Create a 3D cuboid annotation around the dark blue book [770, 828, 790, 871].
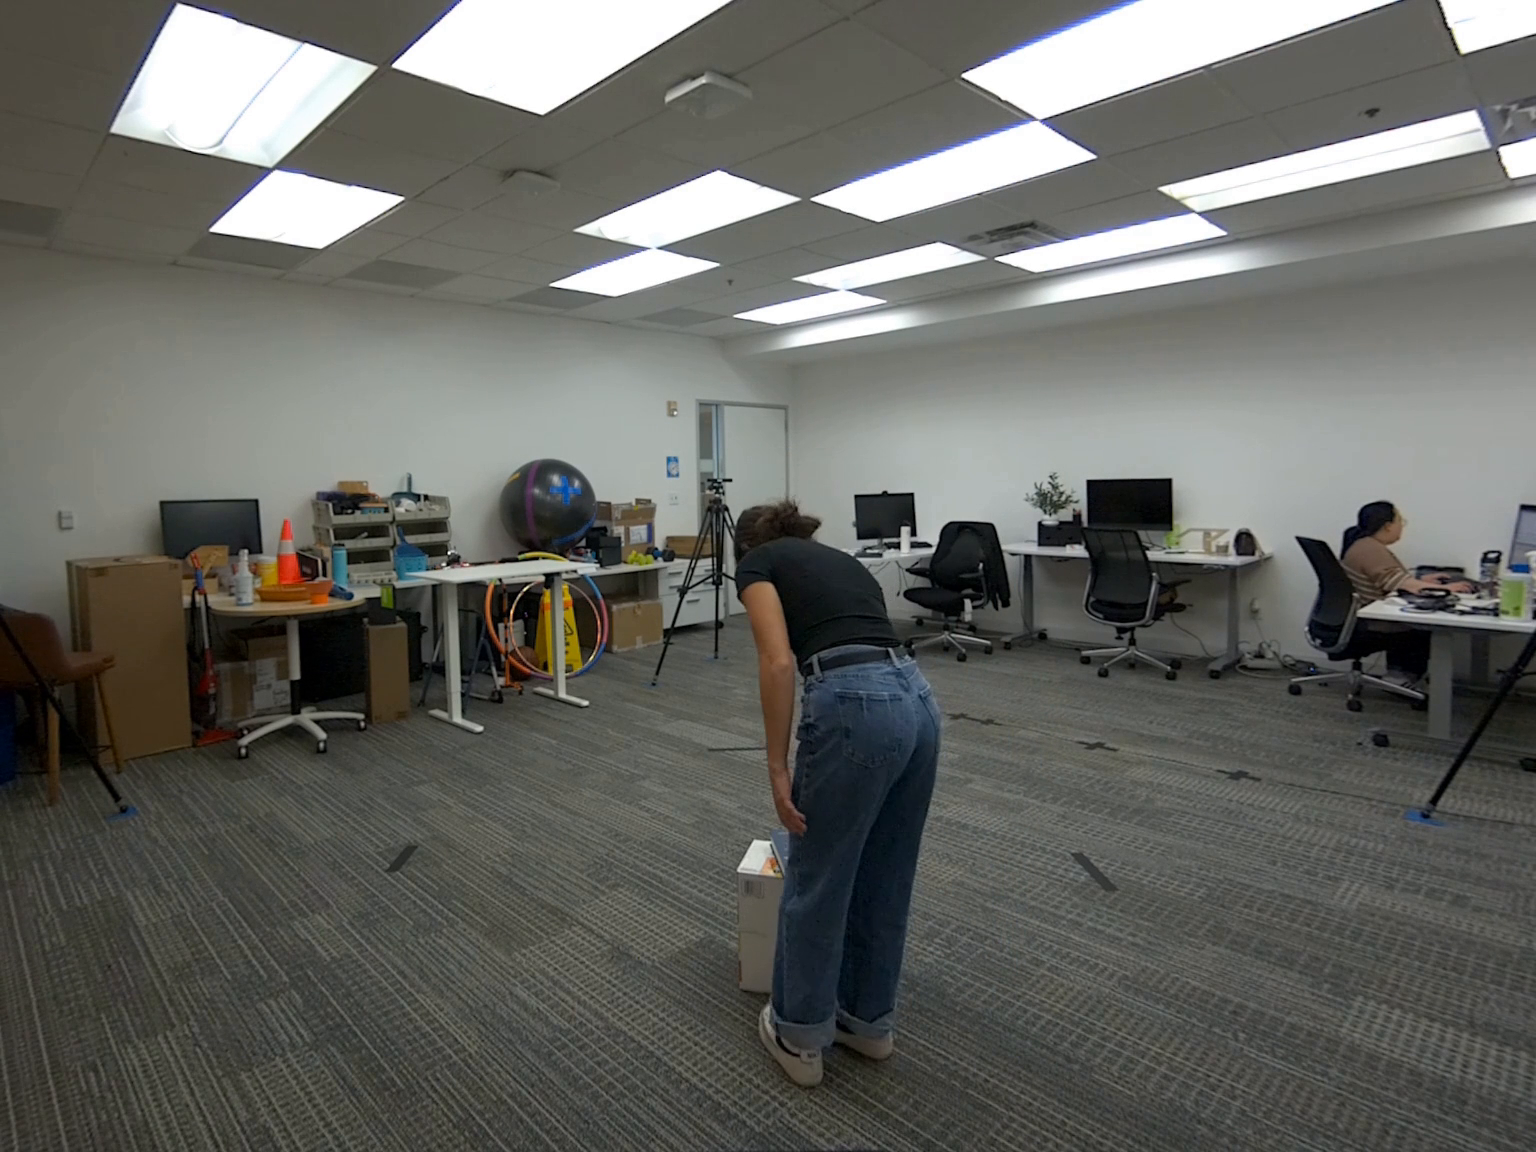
[{"bbox_3d":[0.115,0.777,2.346,0.162,0.045,0.248,-2,8,-9],"label":"dark blue book"}]
